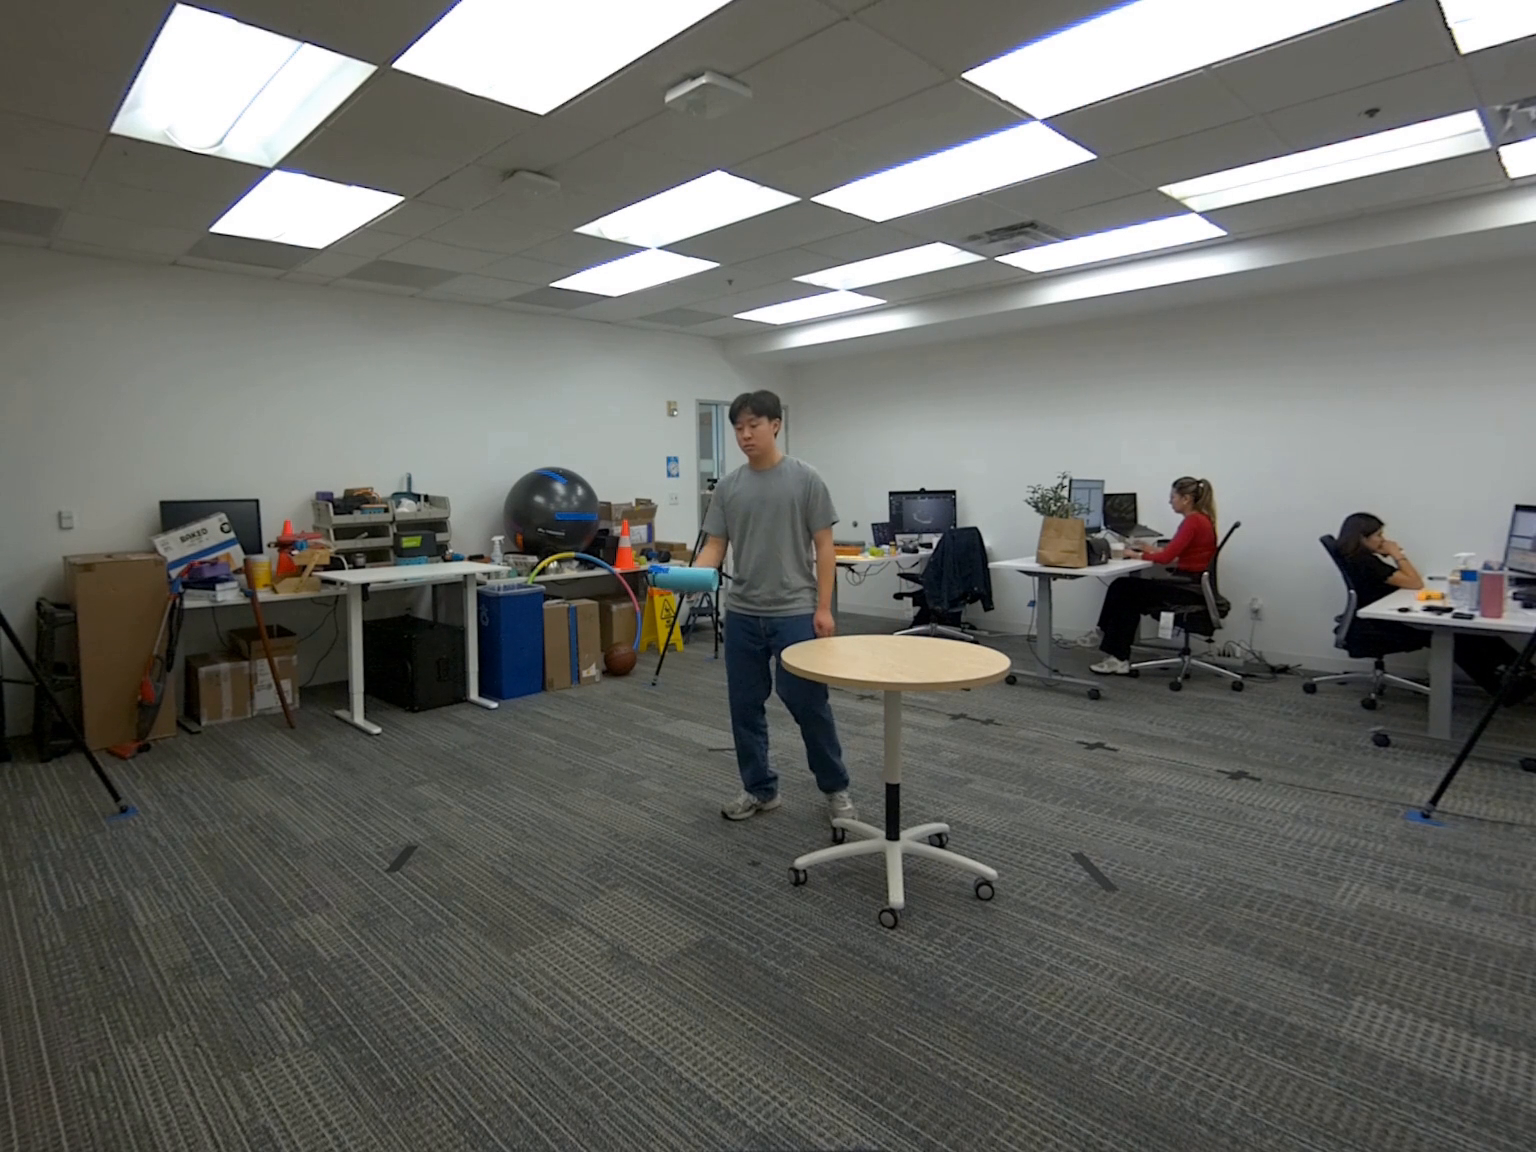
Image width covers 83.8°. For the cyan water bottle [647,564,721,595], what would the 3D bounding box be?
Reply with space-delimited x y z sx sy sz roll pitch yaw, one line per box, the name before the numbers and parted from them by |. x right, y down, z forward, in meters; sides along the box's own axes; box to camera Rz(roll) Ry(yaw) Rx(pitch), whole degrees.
cyan water bottle | -0.324 0.001 3.223 0.287 0.092 0.091 3 6 14
